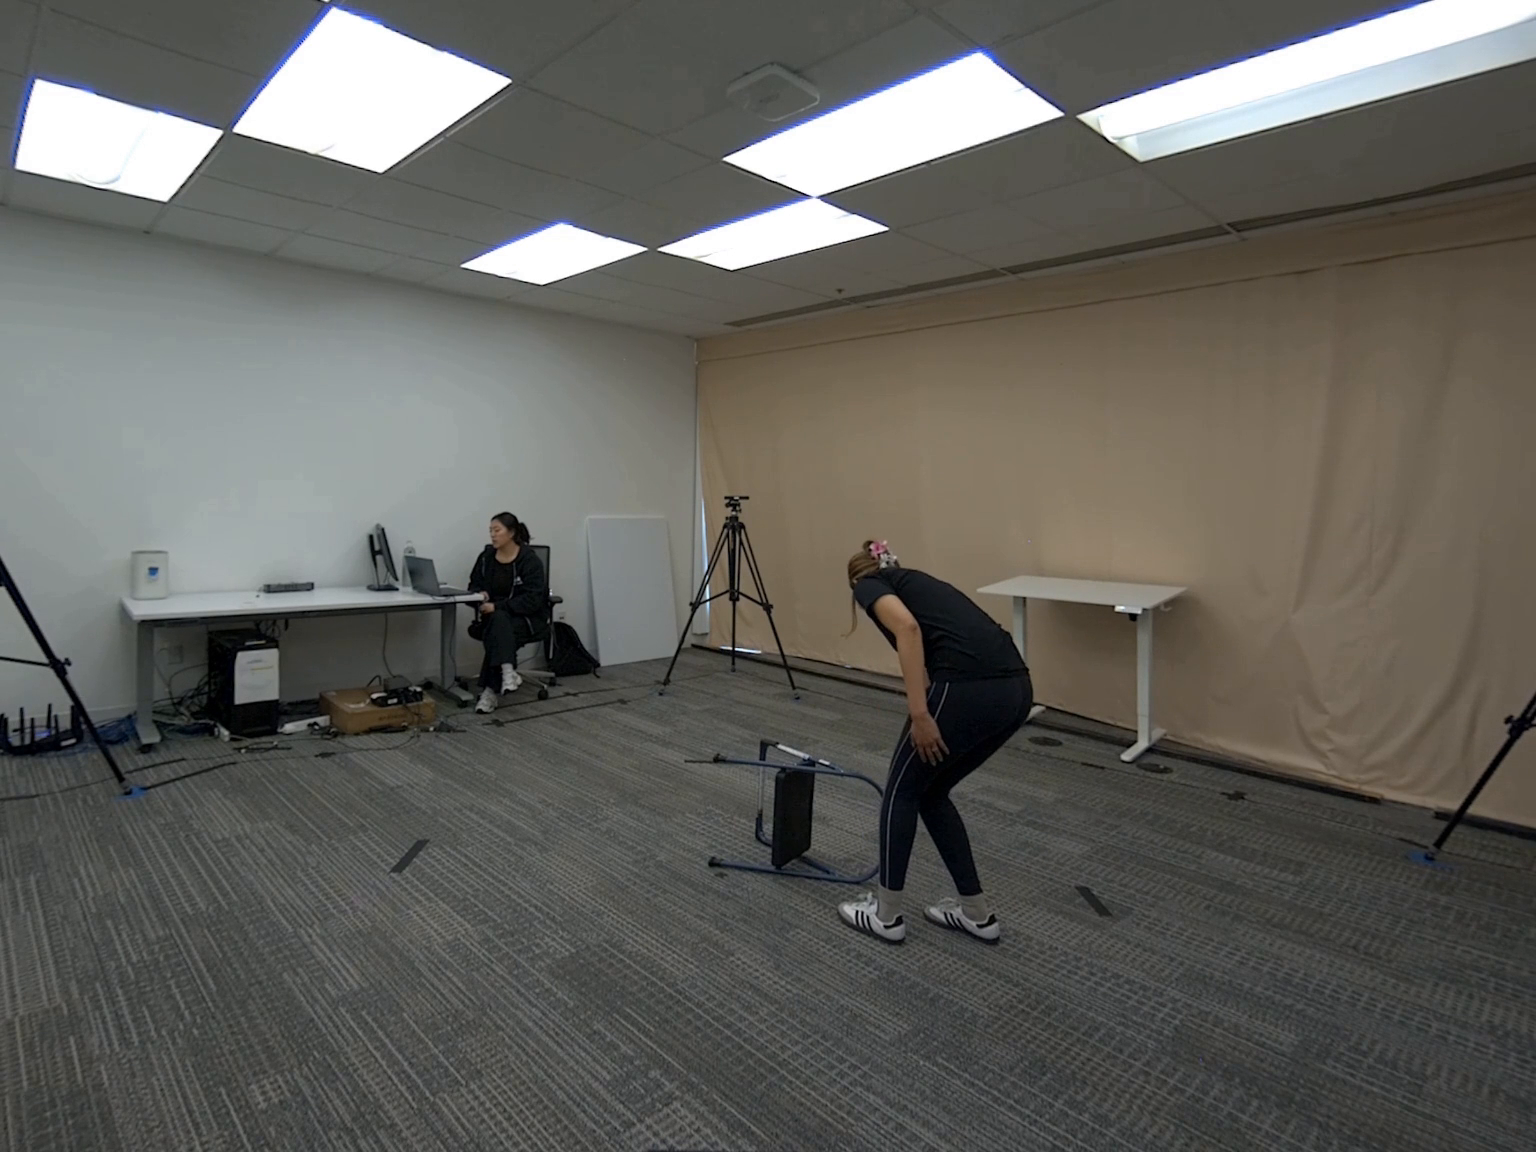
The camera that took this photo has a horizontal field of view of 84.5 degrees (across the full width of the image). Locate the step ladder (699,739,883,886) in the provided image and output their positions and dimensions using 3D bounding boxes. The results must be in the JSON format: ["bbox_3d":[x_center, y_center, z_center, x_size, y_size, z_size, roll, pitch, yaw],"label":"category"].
[{"bbox_3d":[0.132,0.904,3.133,0.620,0.429,0.342,6,6,33],"label":"step ladder"}]
